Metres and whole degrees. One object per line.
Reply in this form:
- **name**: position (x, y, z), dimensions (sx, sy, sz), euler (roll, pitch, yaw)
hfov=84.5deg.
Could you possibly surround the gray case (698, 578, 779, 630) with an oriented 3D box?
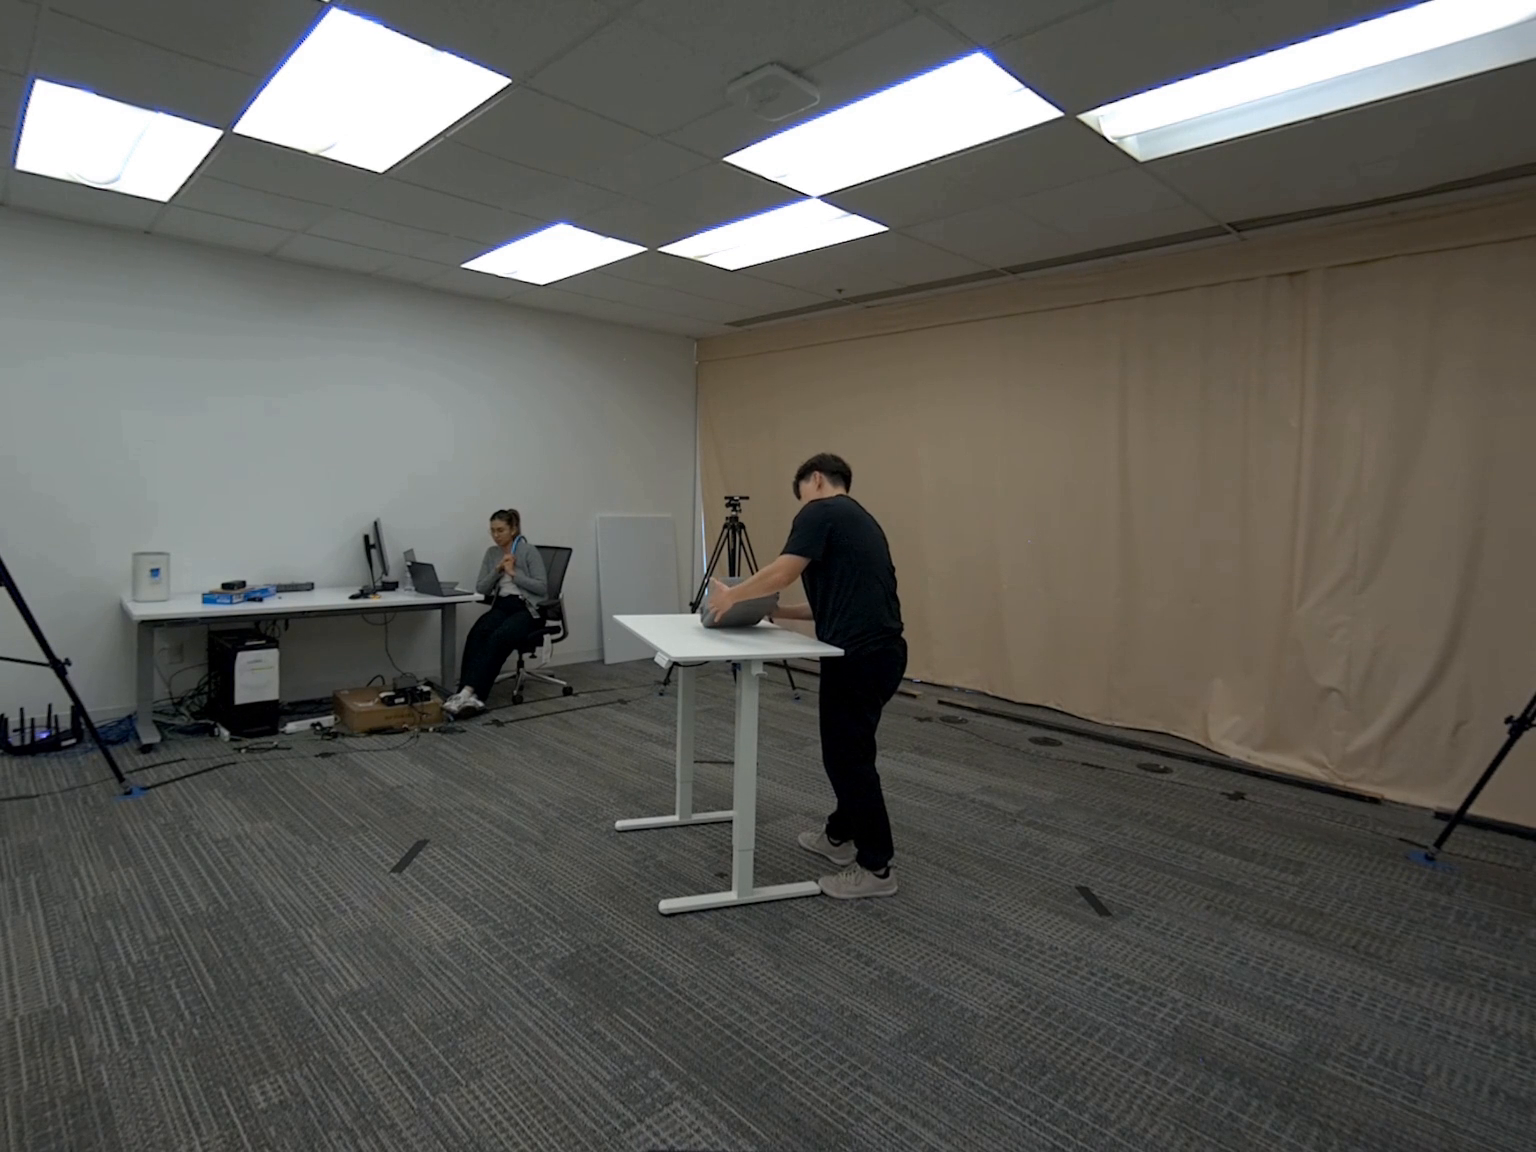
- **gray case**: position (-0.119, 0.105, 3.262), dimensions (0.252, 0.107, 0.259), euler (-1, -31, -26)
